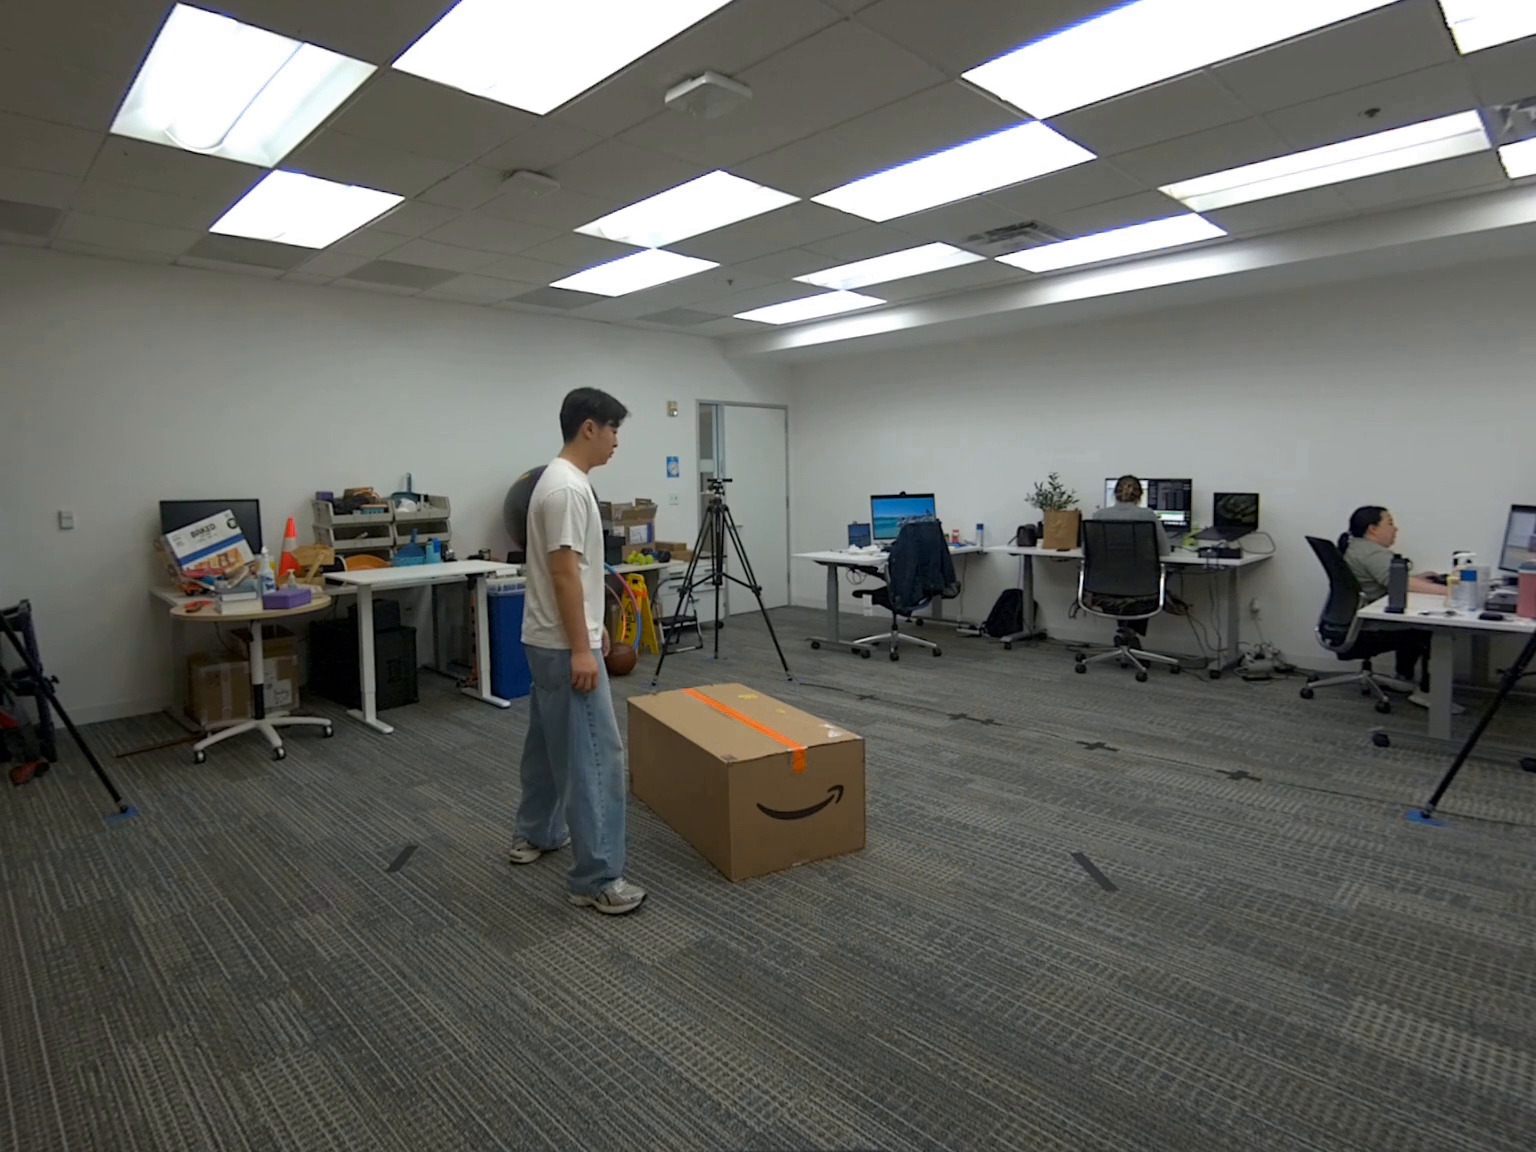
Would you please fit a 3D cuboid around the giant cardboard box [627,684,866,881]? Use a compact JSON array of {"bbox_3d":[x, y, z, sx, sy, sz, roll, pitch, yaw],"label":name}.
[{"bbox_3d":[-0.134,0.785,3.530,0.564,0.424,1.054,-3,6,-29],"label":"giant cardboard box"}]
